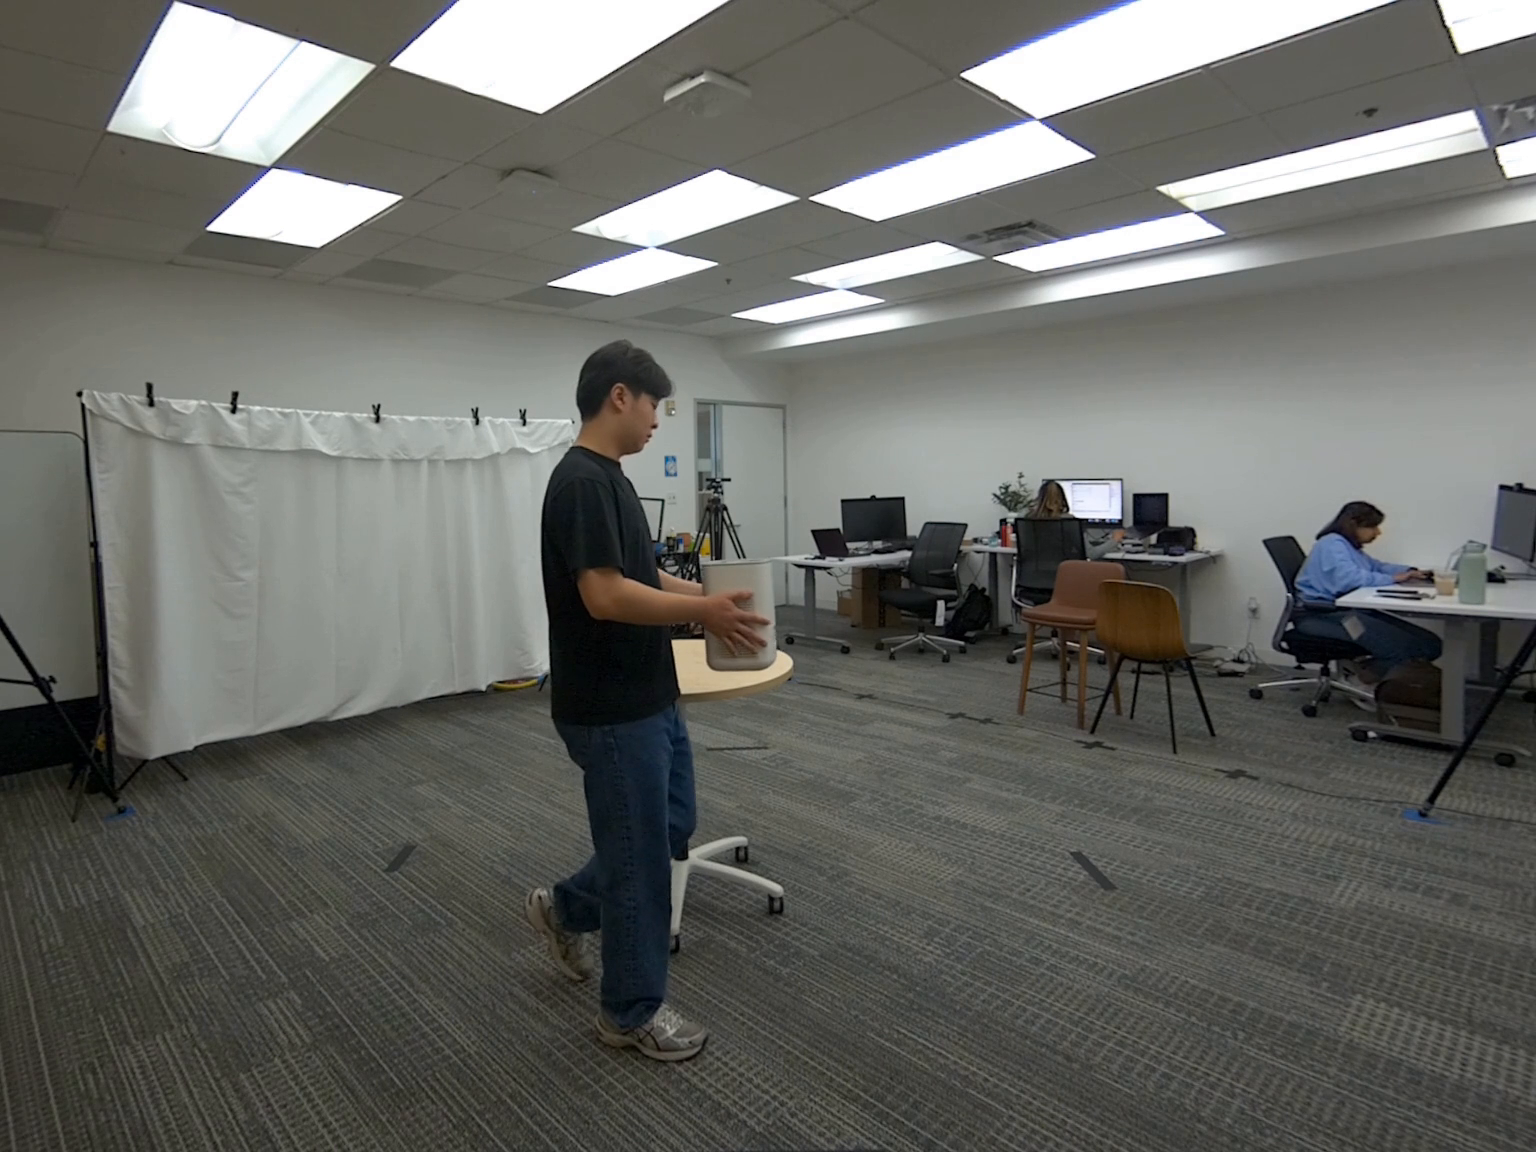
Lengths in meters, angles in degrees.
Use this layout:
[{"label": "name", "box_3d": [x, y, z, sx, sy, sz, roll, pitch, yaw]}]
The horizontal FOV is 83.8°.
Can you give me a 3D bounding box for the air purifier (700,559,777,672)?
[{"label": "air purifier", "box_3d": [-0.073, 0.095, 2.129, 0.172, 0.265, 0.171, -3, 2, 4]}]
